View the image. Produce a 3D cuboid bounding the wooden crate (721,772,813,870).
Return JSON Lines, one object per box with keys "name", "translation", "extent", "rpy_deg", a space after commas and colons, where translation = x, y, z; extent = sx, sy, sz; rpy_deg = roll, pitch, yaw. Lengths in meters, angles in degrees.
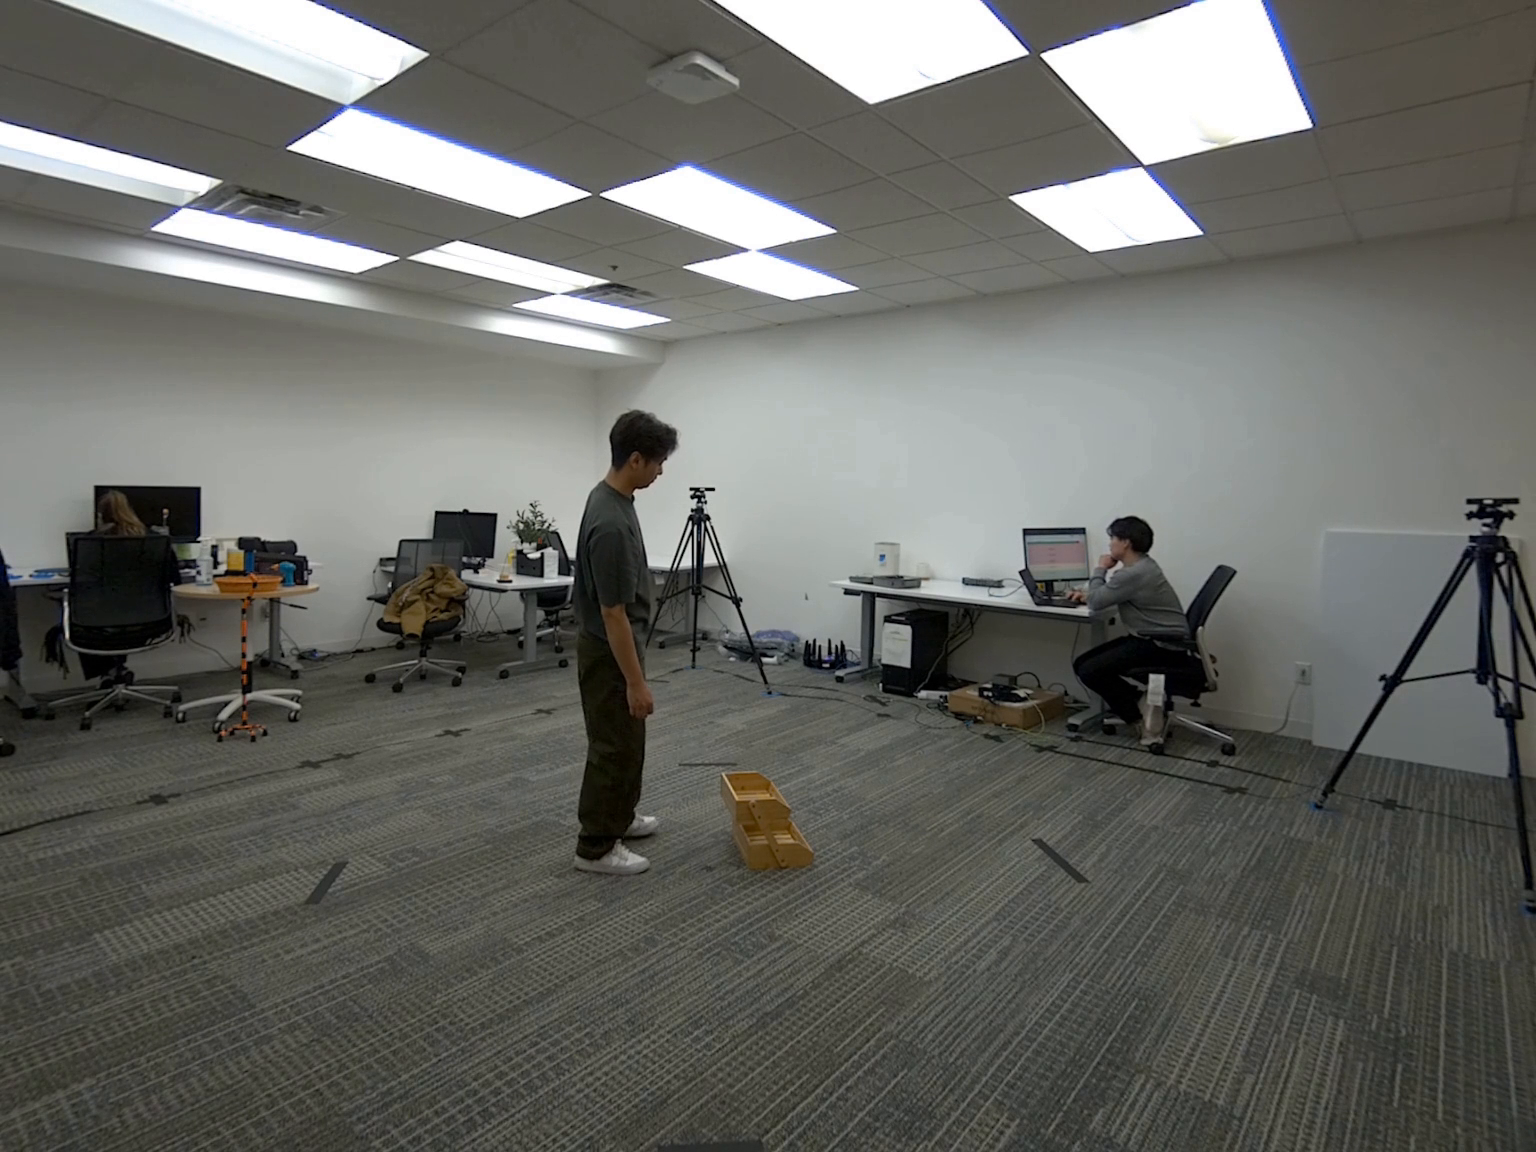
{"name": "wooden crate", "translation": [-0.006, 0.927, 3.255], "extent": [0.298, 0.272, 0.330], "rpy_deg": [0, 5, -13]}
